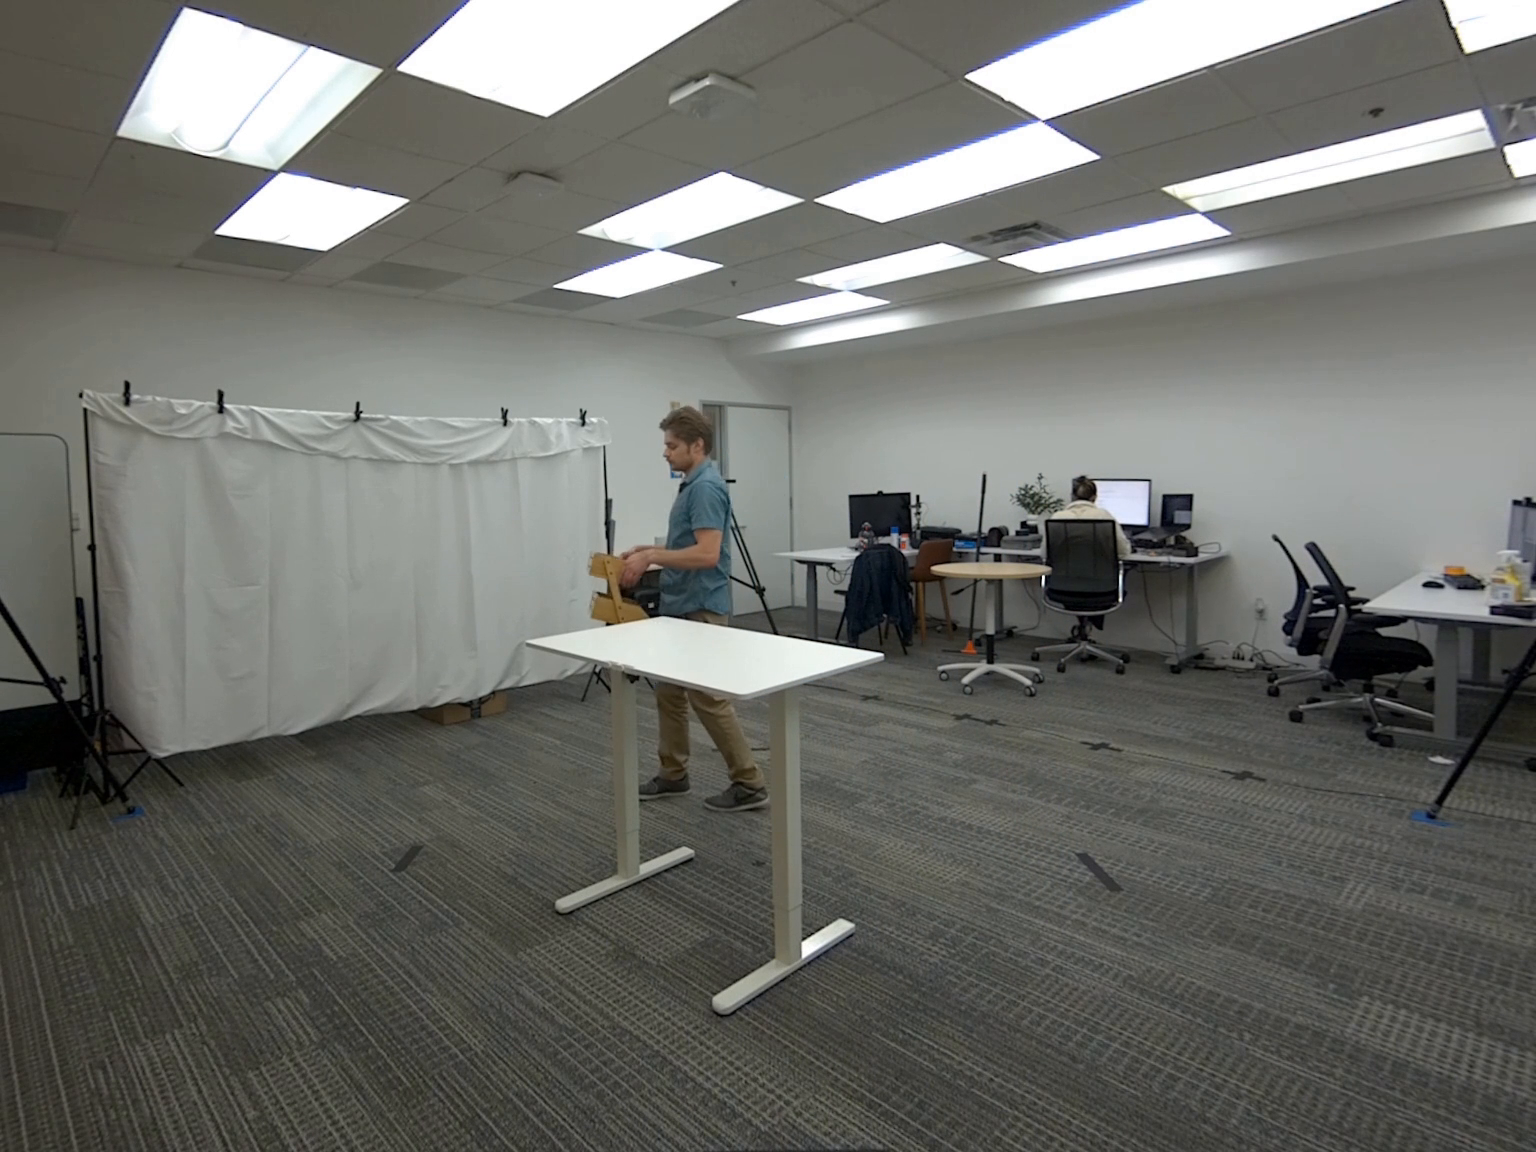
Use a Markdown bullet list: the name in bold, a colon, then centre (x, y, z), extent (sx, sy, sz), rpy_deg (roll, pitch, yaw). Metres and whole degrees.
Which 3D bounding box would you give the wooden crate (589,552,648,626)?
- **wooden crate**: centre (-0.622, 0.052, 3.626), extent (0.298, 0.273, 0.329), rpy_deg (14, 0, -13)
